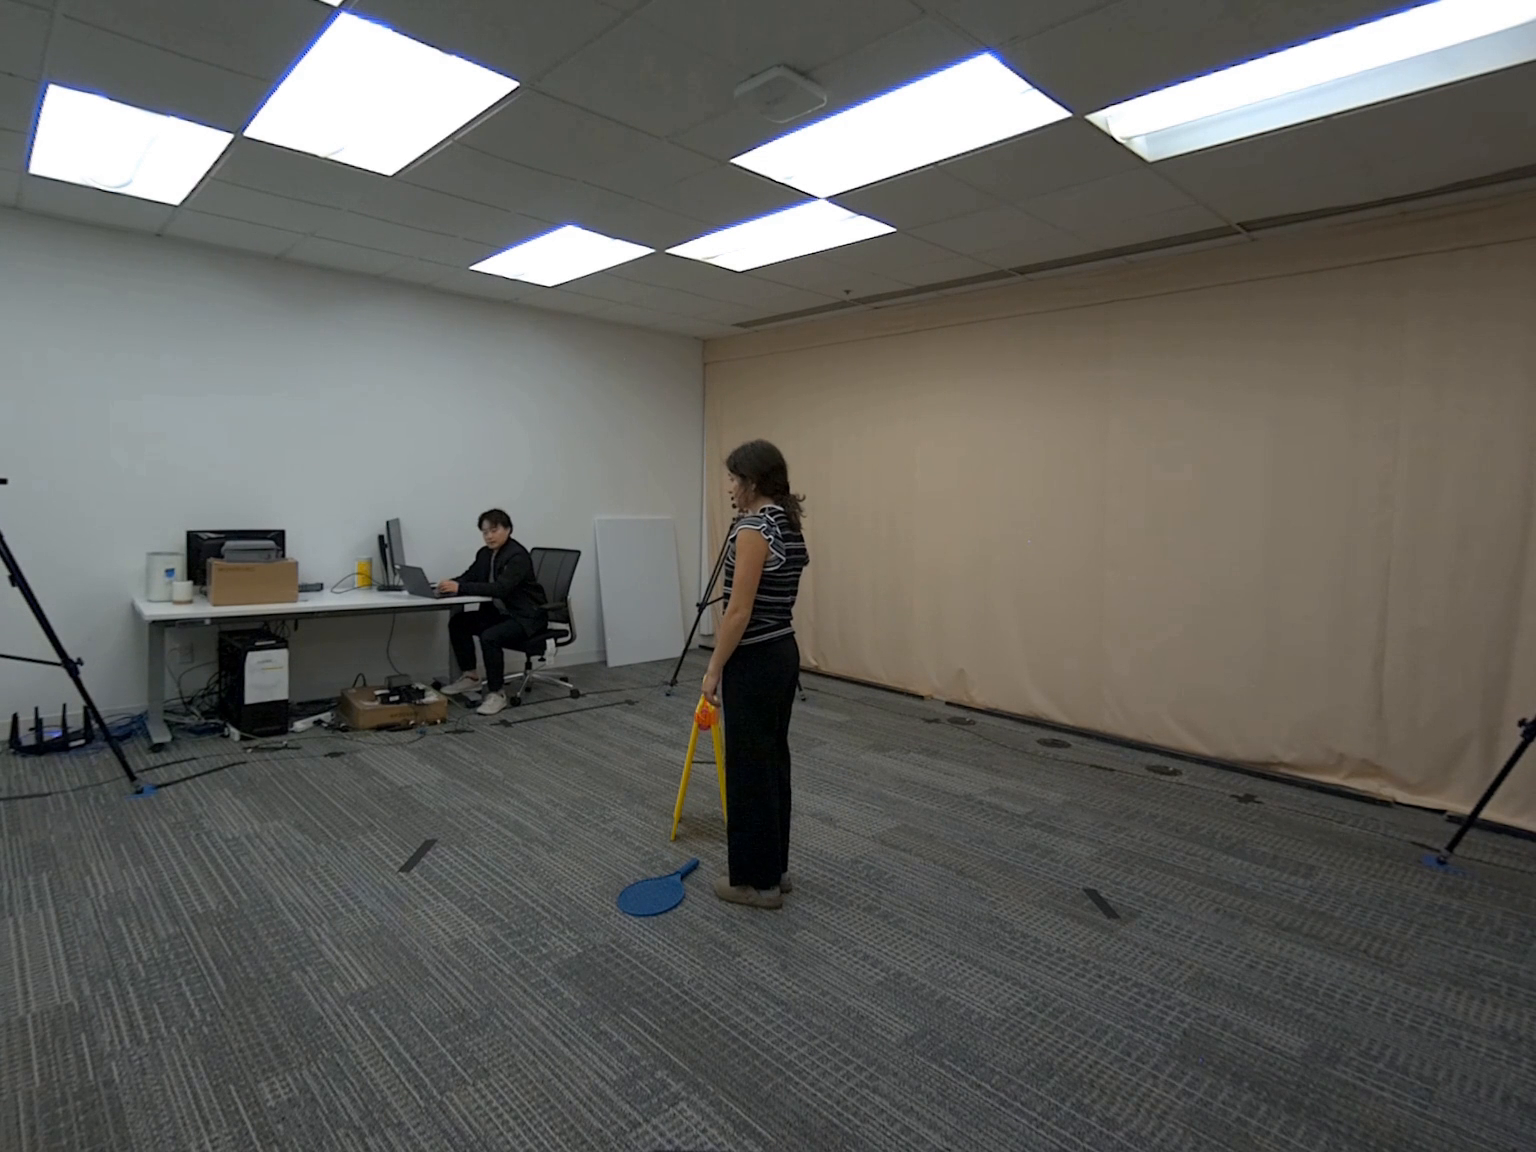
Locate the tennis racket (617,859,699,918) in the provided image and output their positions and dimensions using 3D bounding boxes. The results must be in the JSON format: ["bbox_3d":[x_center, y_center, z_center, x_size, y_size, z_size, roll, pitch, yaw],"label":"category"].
[{"bbox_3d":[-0.372,1.090,2.988,0.218,0.031,0.426,3,7,25],"label":"tennis racket"}]
